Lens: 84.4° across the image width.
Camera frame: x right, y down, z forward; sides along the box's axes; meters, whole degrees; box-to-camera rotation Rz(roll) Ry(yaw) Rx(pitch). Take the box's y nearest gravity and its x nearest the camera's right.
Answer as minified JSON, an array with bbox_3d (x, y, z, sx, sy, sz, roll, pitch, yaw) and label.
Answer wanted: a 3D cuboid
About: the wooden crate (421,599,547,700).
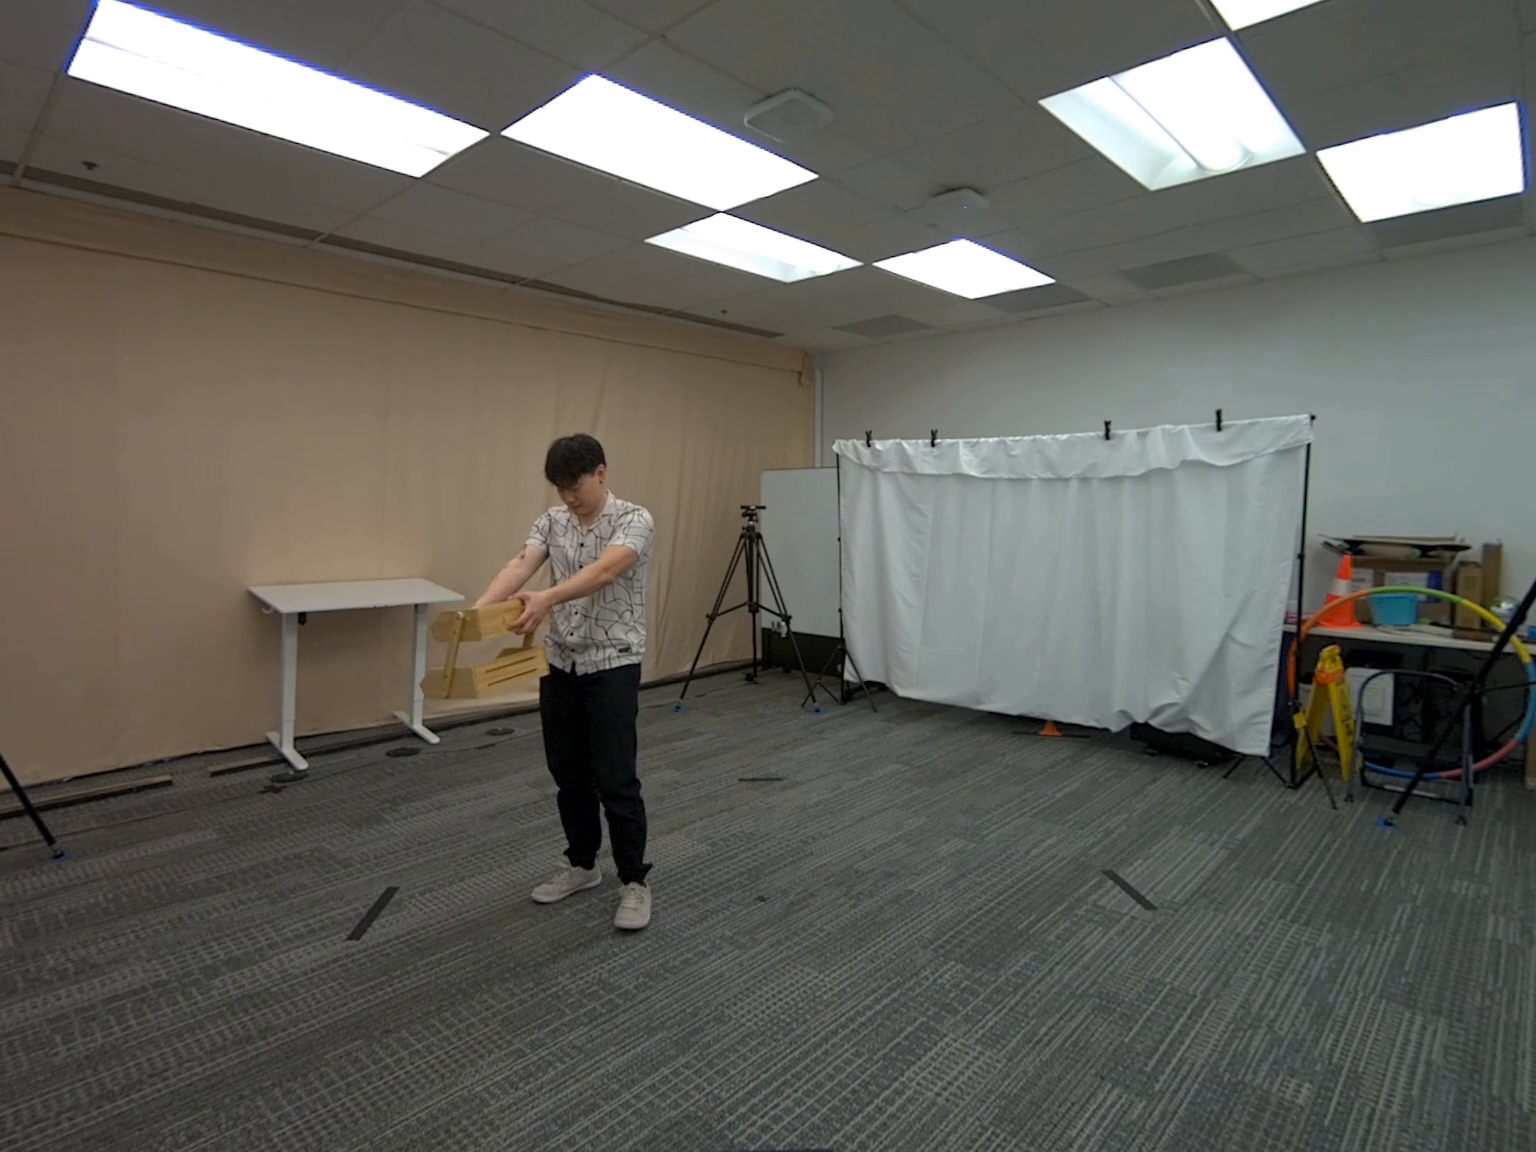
[{"bbox_3d":[-0.870,0.211,2.589,0.310,0.273,0.316,-6,4,32],"label":"wooden crate"}]
